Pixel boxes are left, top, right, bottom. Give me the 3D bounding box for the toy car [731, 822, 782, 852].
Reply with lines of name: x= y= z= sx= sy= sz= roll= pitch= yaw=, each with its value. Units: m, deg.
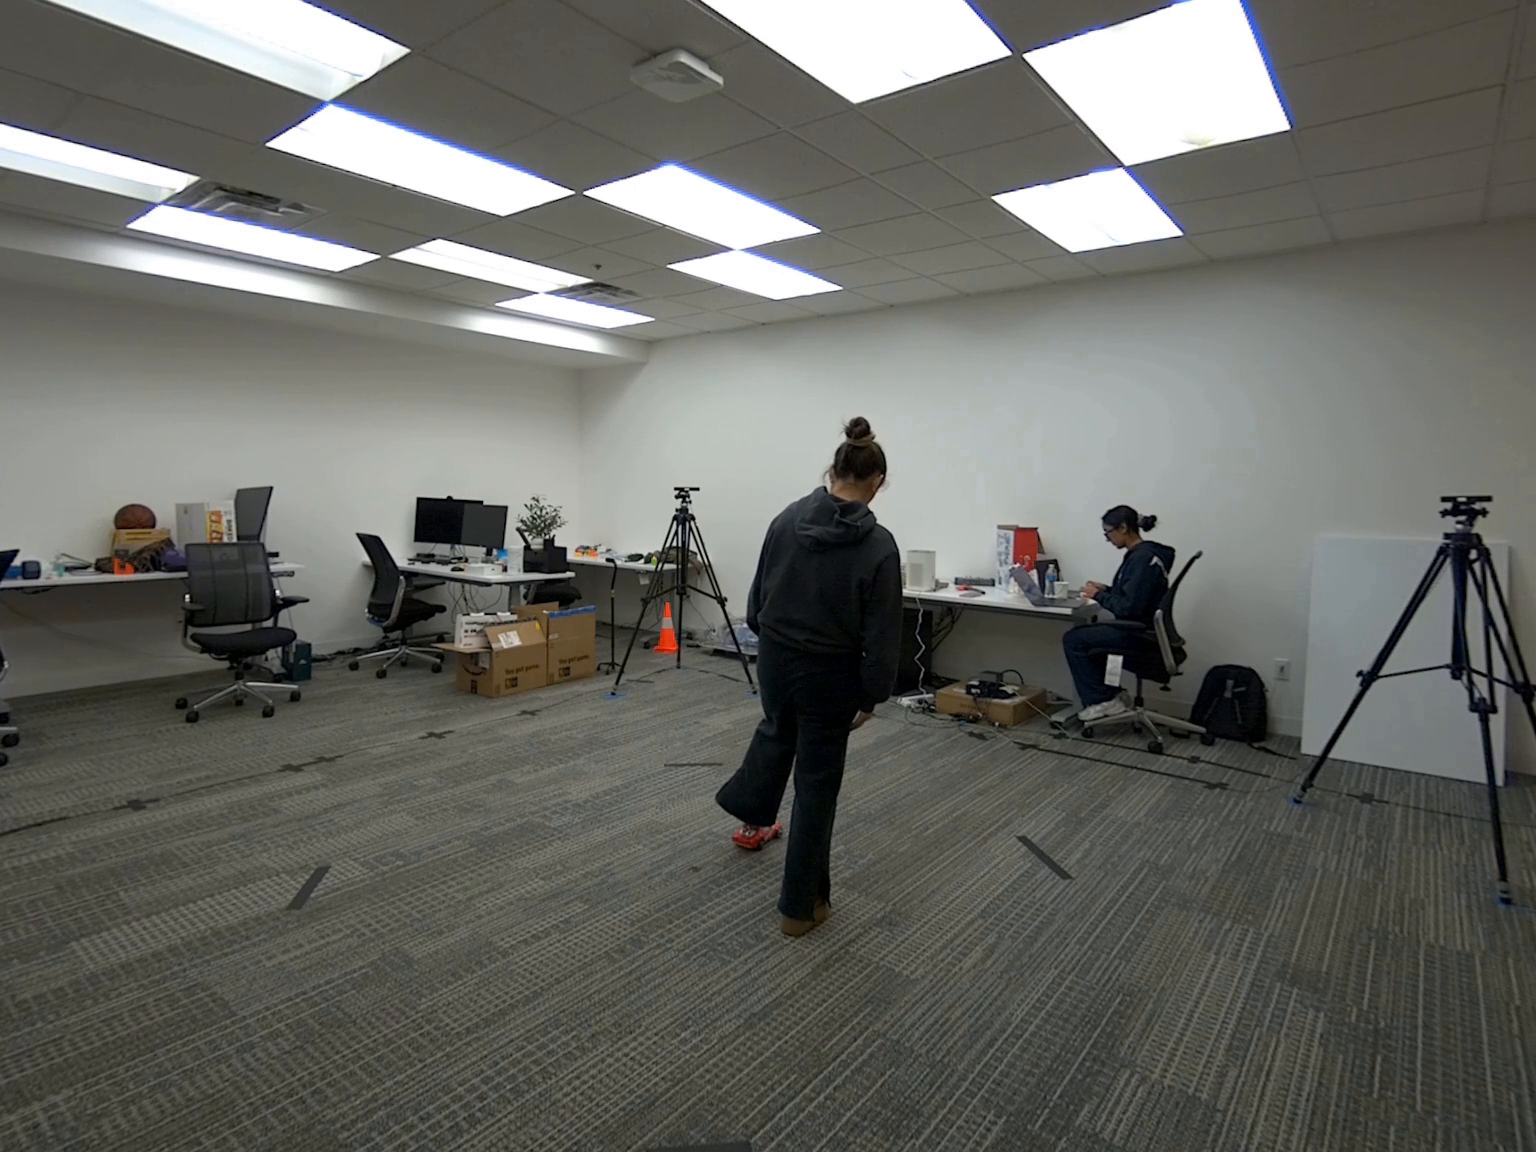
toy car: x=-0.047 y=1.016 z=3.352 sx=0.134 sy=0.083 sz=0.246 roll=5 pitch=-4 yaw=33
